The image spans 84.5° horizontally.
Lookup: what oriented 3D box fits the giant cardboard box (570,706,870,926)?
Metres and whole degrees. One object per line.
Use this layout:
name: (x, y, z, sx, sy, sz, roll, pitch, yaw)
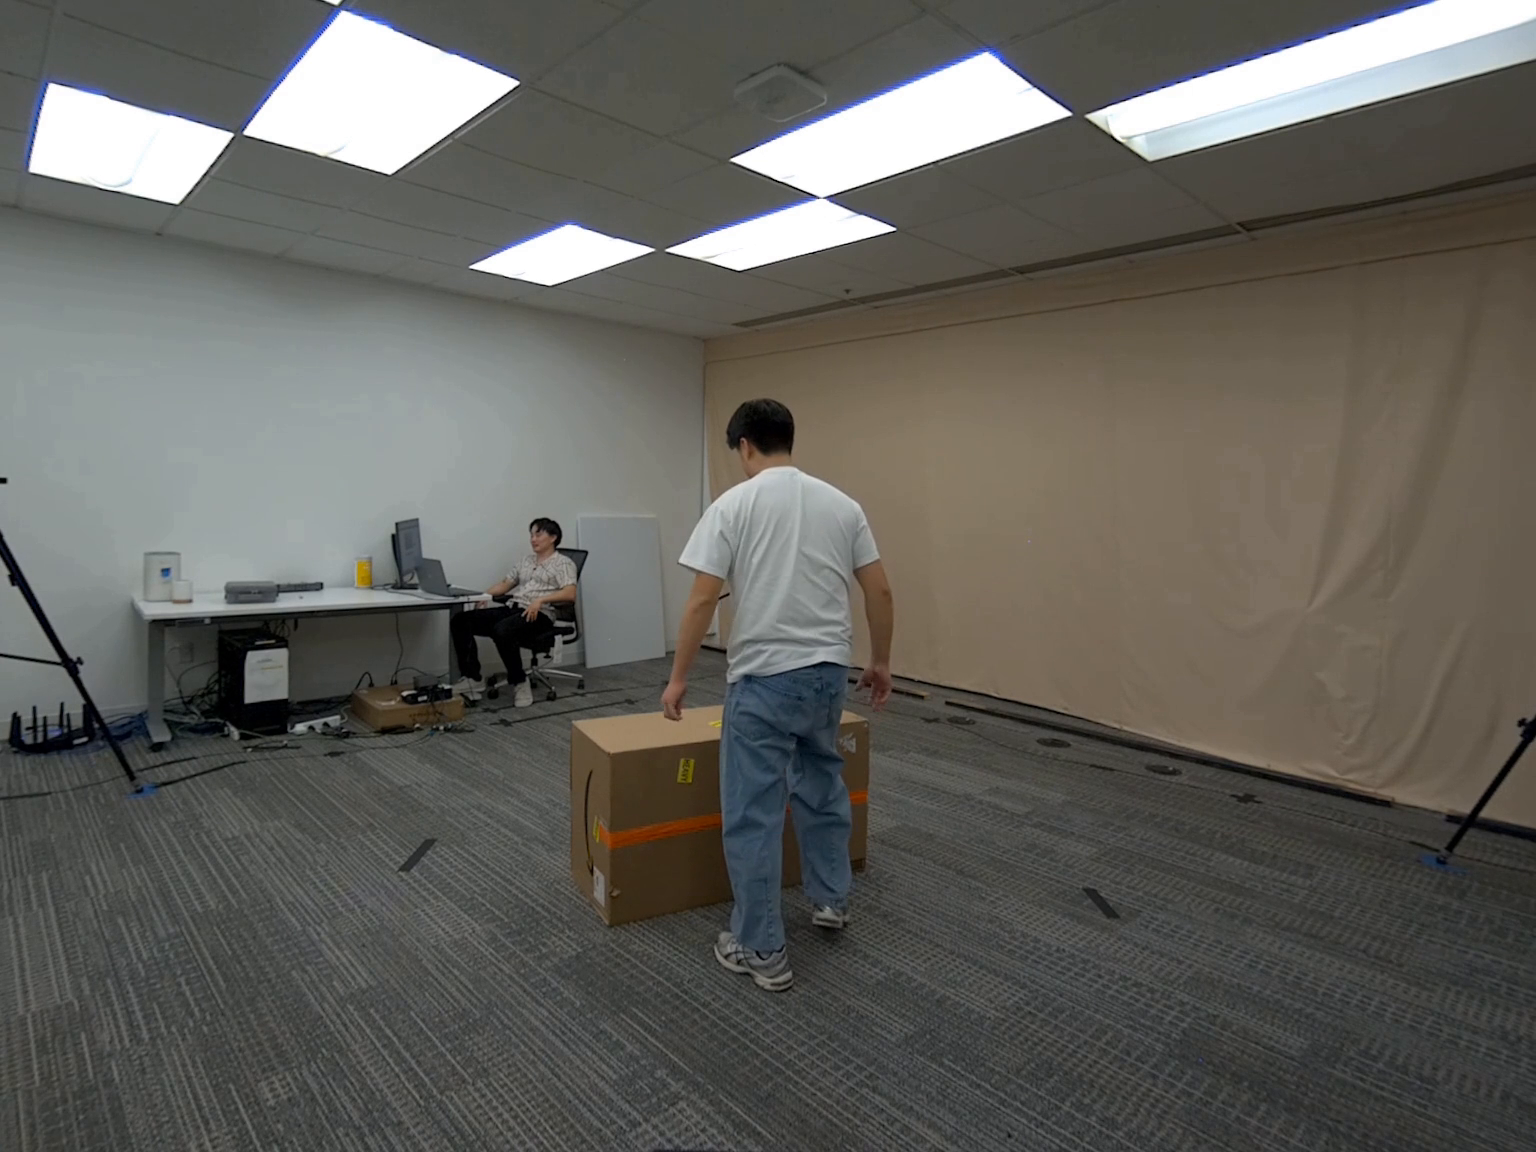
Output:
giant cardboard box: (-0.173, 0.818, 3.109, 1.006, 0.576, 0.435, -1, 4, -27)
